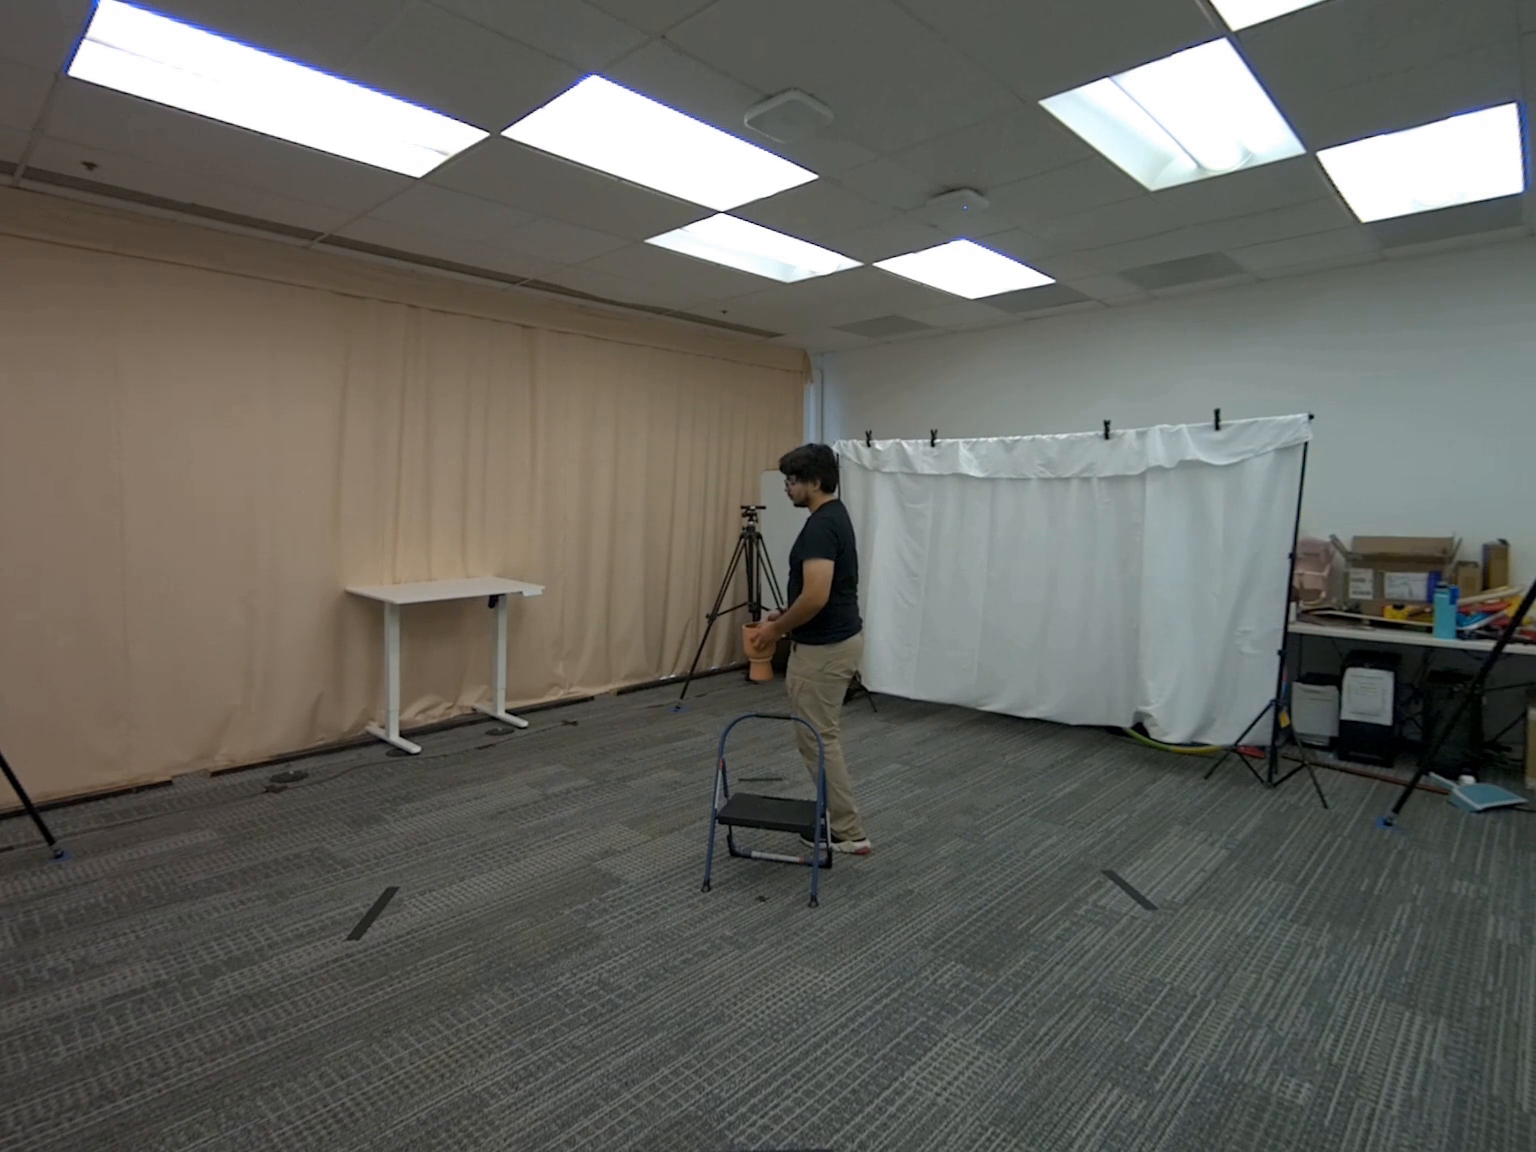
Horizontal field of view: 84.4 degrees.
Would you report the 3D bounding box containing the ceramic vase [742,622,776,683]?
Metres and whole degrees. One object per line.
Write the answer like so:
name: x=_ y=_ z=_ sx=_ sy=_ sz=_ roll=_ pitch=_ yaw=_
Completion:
ceramic vase: x=-0.026 y=0.316 z=3.489 sx=0.139 sy=0.219 sz=0.154 roll=3 pitch=9 yaw=44
